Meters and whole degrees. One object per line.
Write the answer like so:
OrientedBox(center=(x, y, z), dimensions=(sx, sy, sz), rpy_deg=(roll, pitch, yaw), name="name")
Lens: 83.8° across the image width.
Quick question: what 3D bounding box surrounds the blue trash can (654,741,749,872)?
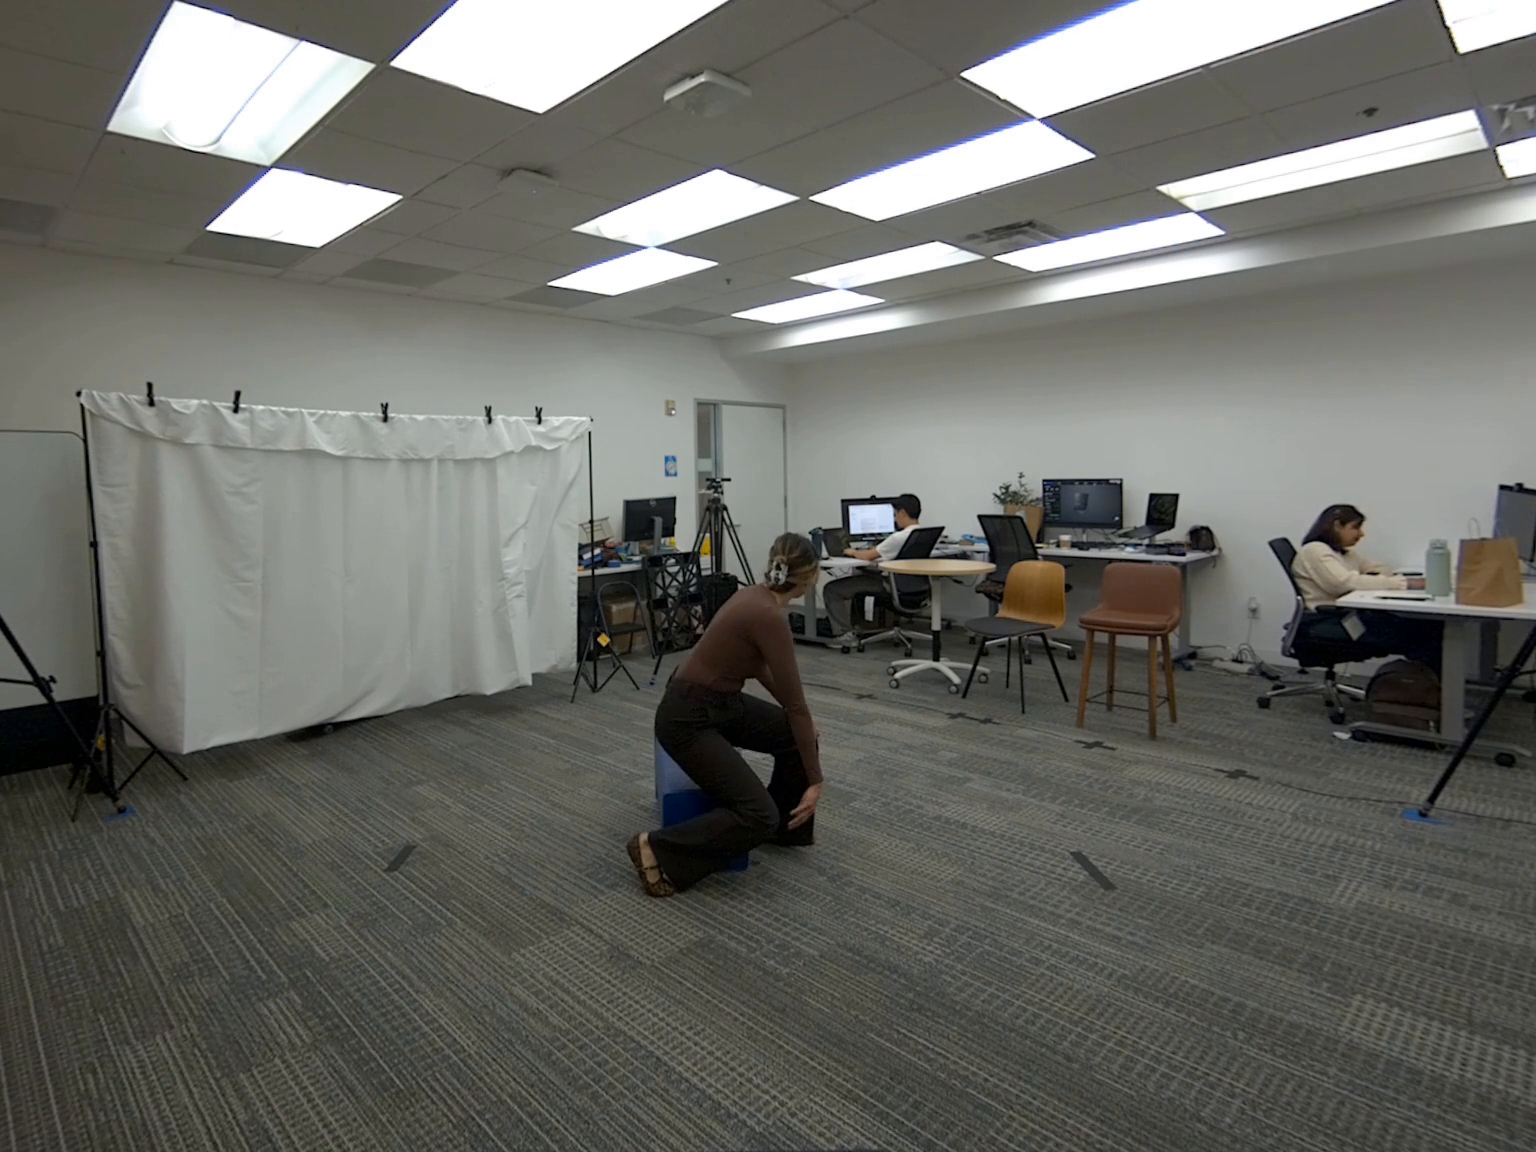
OrientedBox(center=(-0.257, 0.849, 3.377), dimensions=(0.372, 0.375, 0.723), rpy_deg=(-2, 9, -7), name="blue trash can")
